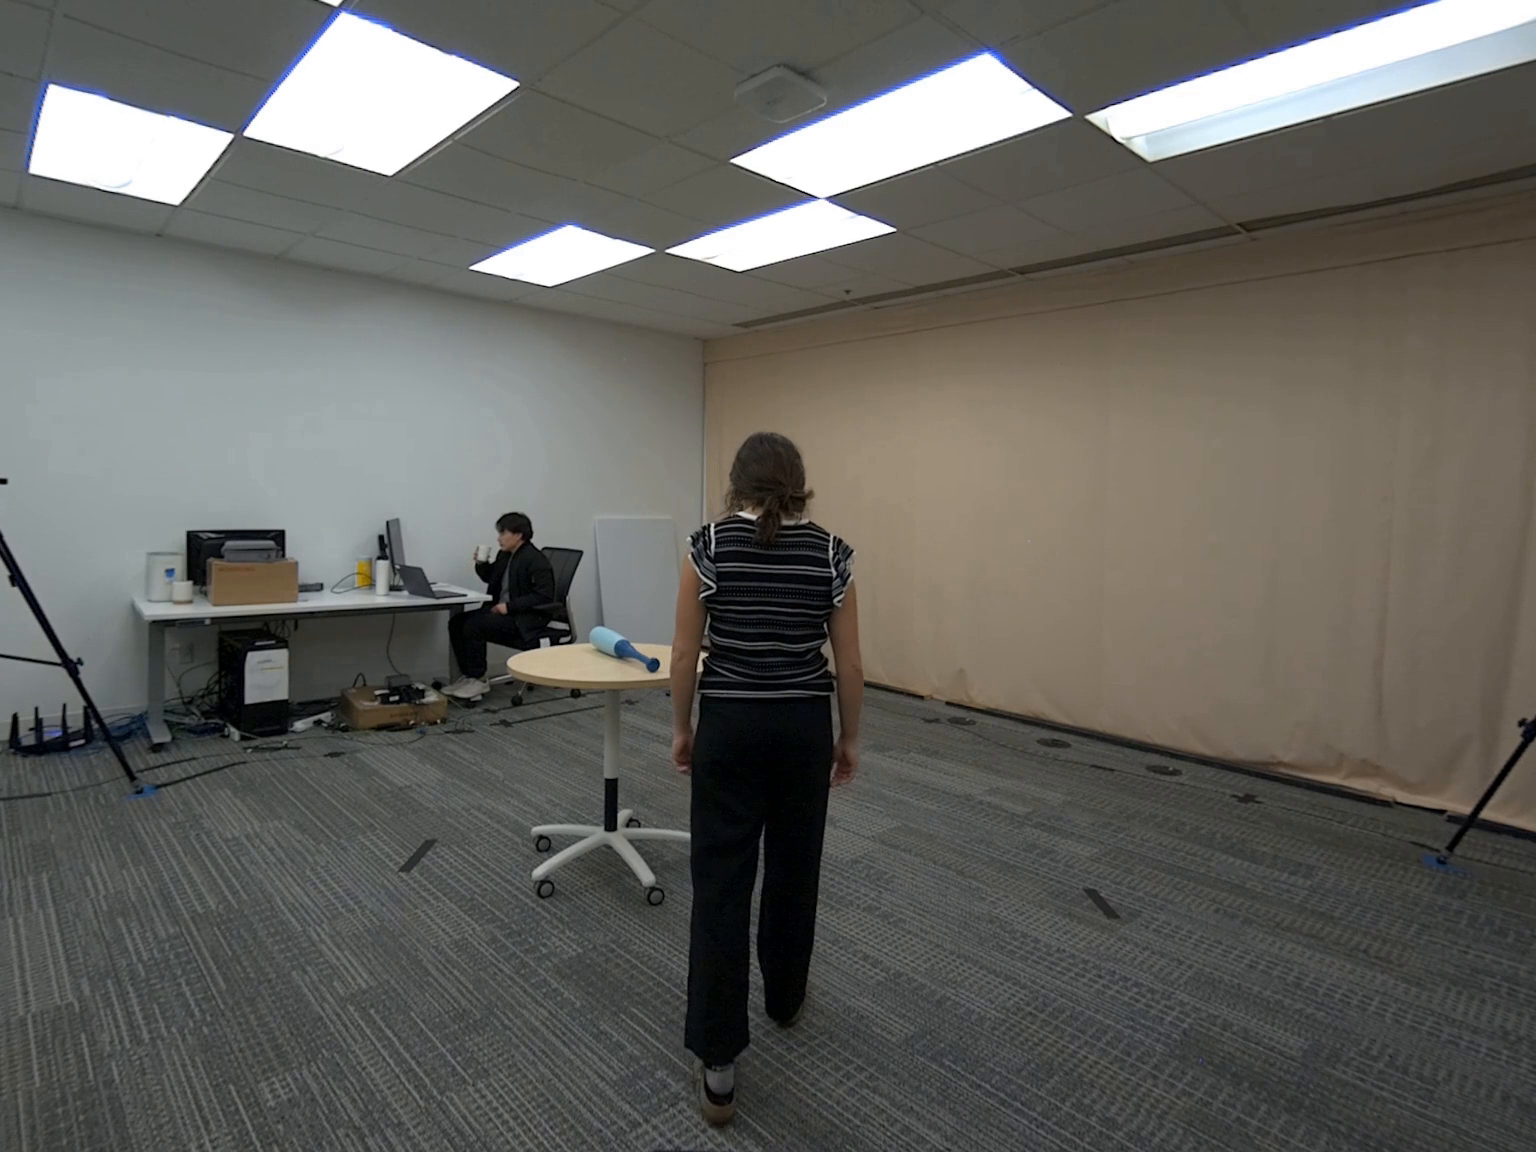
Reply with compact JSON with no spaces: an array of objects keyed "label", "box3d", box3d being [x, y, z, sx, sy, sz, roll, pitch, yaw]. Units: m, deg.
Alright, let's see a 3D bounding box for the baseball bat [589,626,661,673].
[{"label":"baseball bat","box3d":[-0.541,0.277,3.127,0.087,0.089,0.556,-1,7,-31]}]
